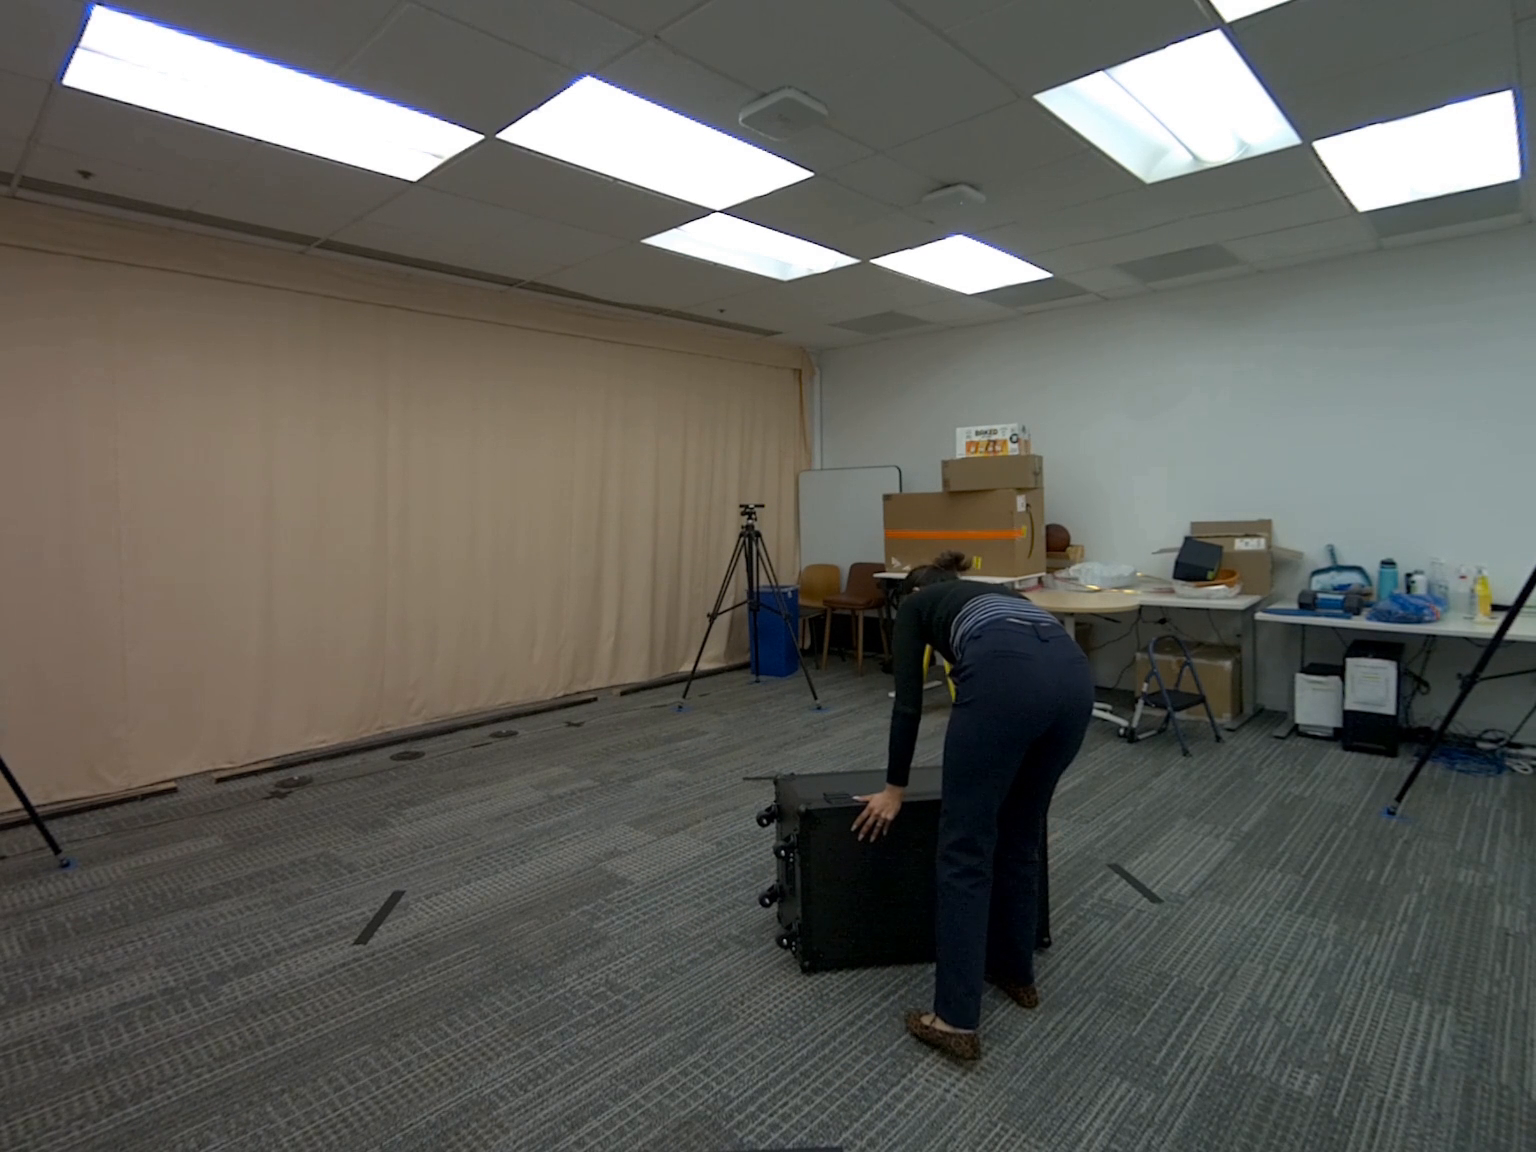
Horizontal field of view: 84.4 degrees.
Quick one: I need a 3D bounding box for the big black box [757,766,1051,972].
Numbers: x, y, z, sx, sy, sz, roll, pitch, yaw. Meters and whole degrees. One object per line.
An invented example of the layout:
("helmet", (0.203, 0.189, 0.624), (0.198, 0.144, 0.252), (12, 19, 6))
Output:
("big black box", (0.411, 0.902, 2.712), (0.853, 0.521, 0.400), (-2, 1, -9))
